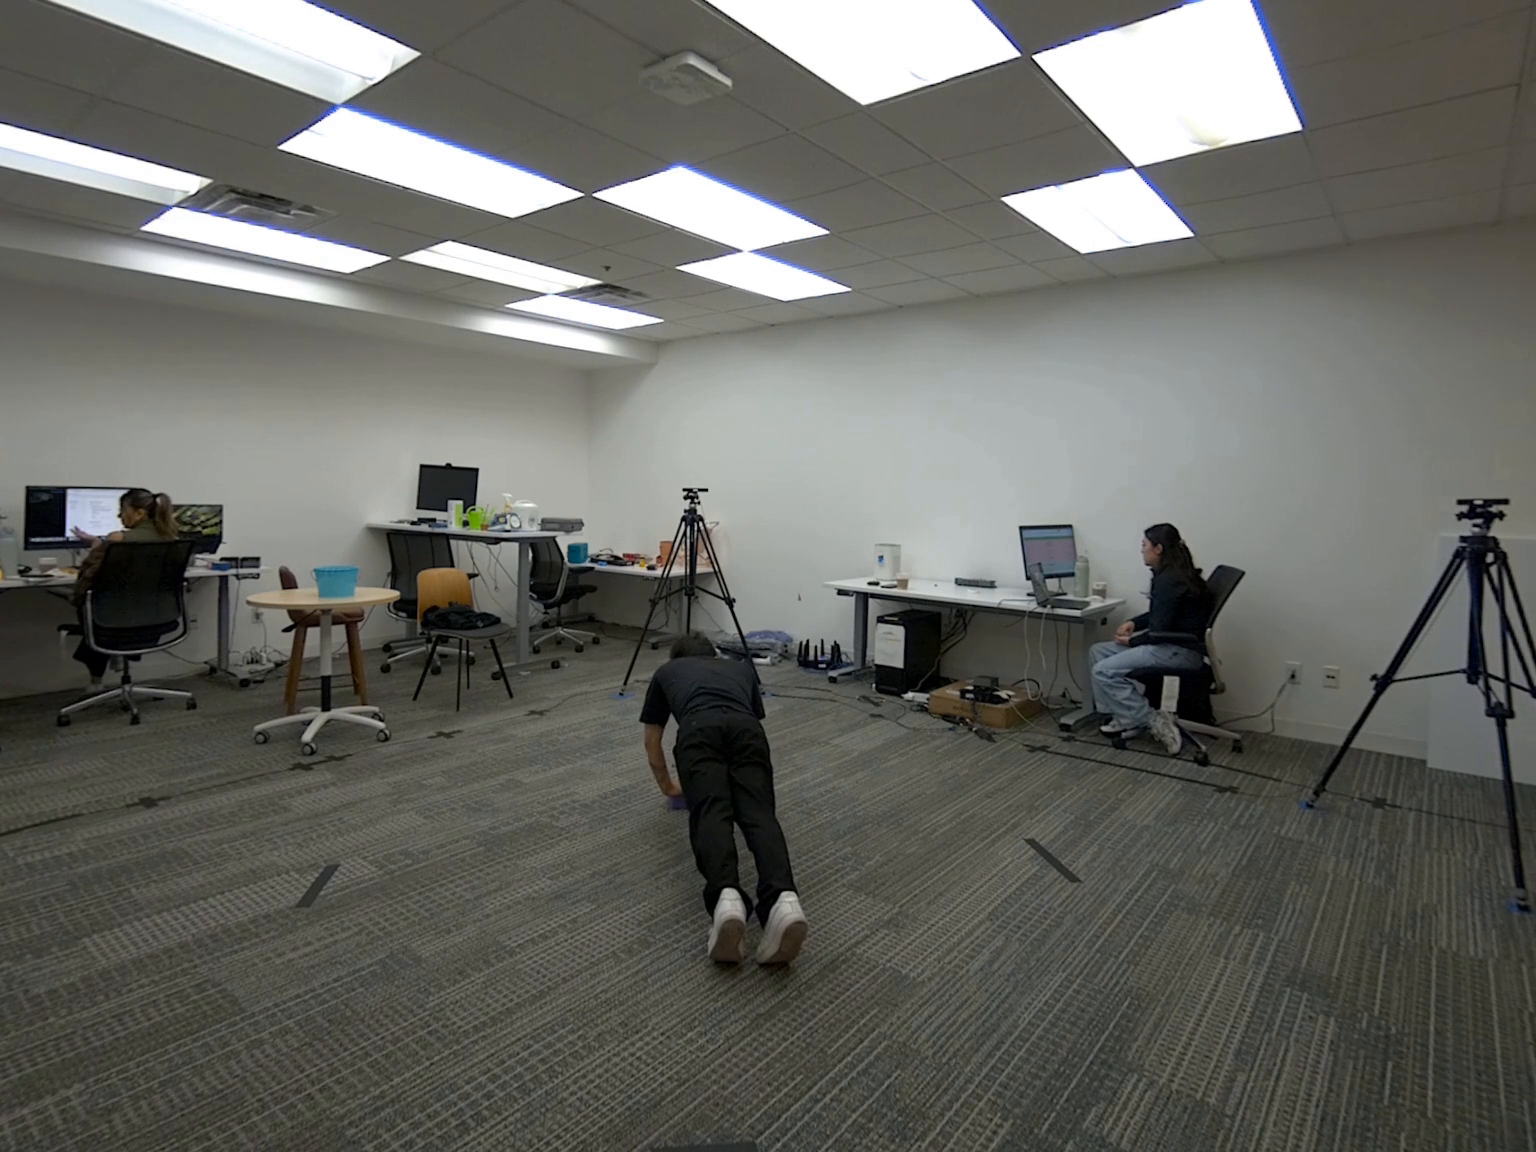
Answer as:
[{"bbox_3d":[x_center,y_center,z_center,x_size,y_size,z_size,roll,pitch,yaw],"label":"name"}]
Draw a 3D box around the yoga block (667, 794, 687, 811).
[{"bbox_3d":[-0.329,0.960,3.765,0.227,0.076,0.151,0,3,-11],"label":"yoga block"}]
